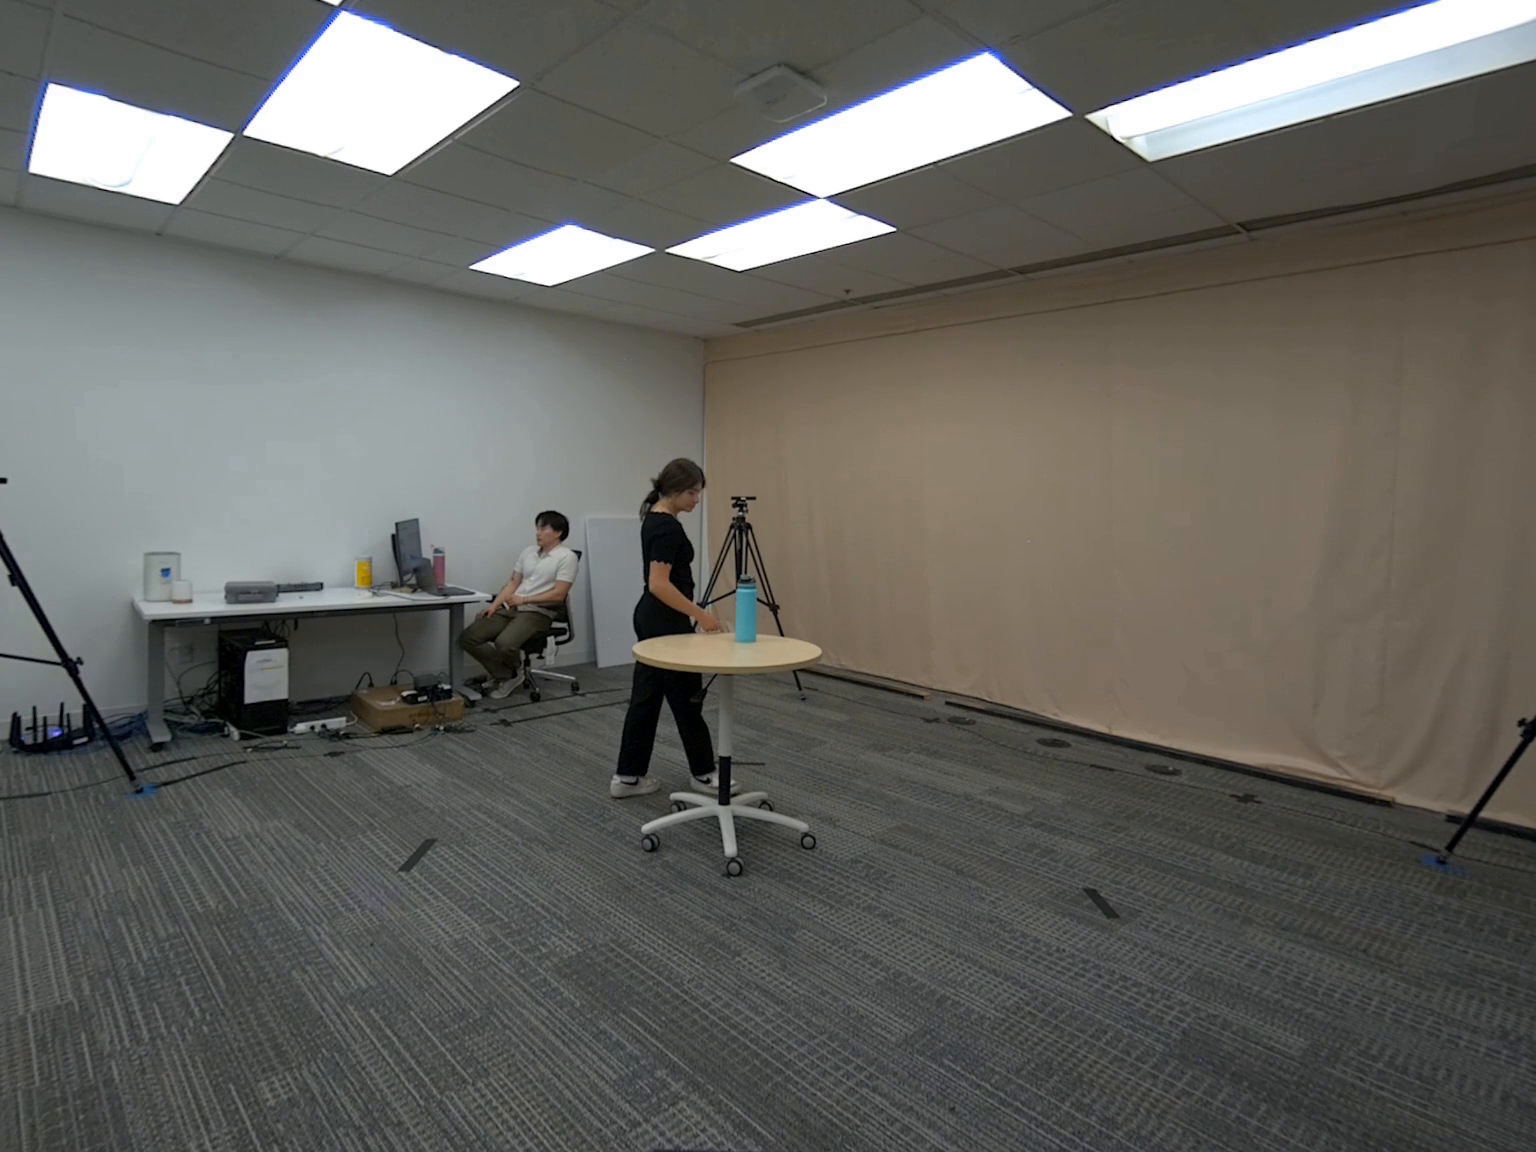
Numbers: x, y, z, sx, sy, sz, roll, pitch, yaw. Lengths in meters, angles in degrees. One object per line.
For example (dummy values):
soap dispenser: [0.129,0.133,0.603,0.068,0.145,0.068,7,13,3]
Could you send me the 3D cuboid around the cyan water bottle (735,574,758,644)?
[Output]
cyan water bottle: [-0.098,0.137,3.585,0.092,0.282,0.092,2,4,-2]
